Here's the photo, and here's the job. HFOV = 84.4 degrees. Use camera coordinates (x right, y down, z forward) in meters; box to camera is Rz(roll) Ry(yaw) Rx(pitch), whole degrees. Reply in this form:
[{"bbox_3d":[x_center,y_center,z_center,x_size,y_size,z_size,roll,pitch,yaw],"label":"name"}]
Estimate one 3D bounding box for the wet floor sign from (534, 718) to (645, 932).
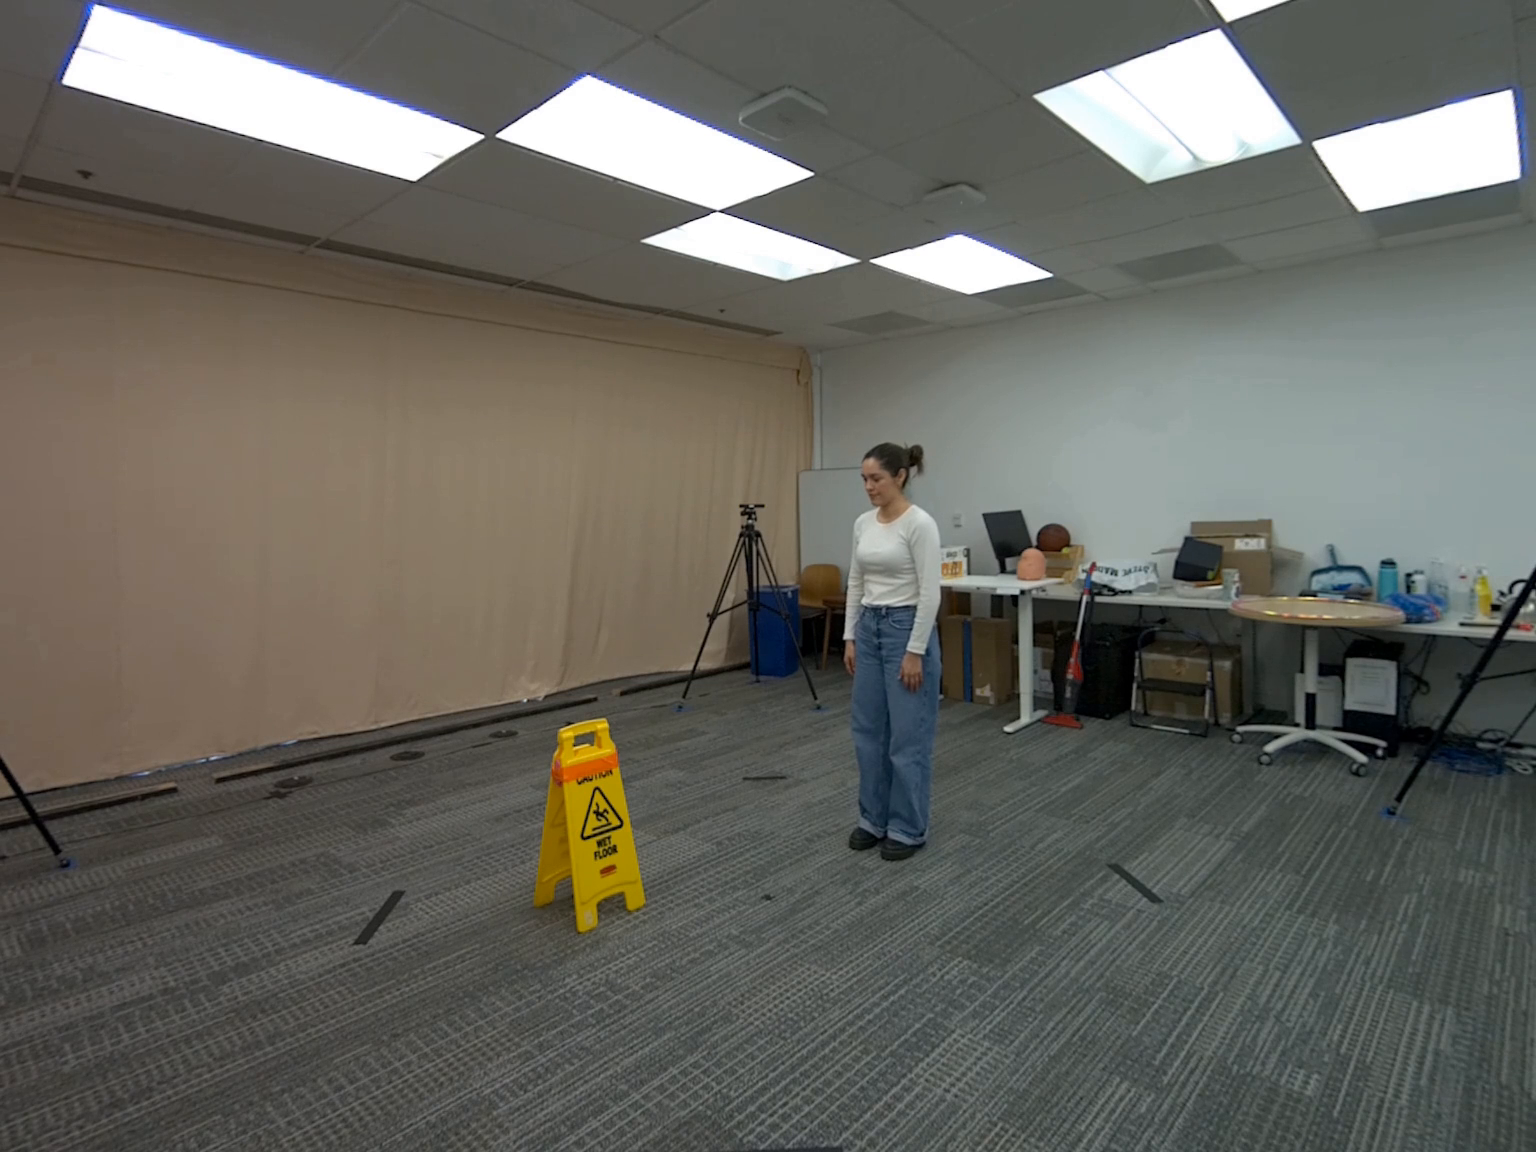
[{"bbox_3d":[-0.630,0.835,2.928,0.299,0.644,0.274,2,5,44],"label":"wet floor sign"}]
